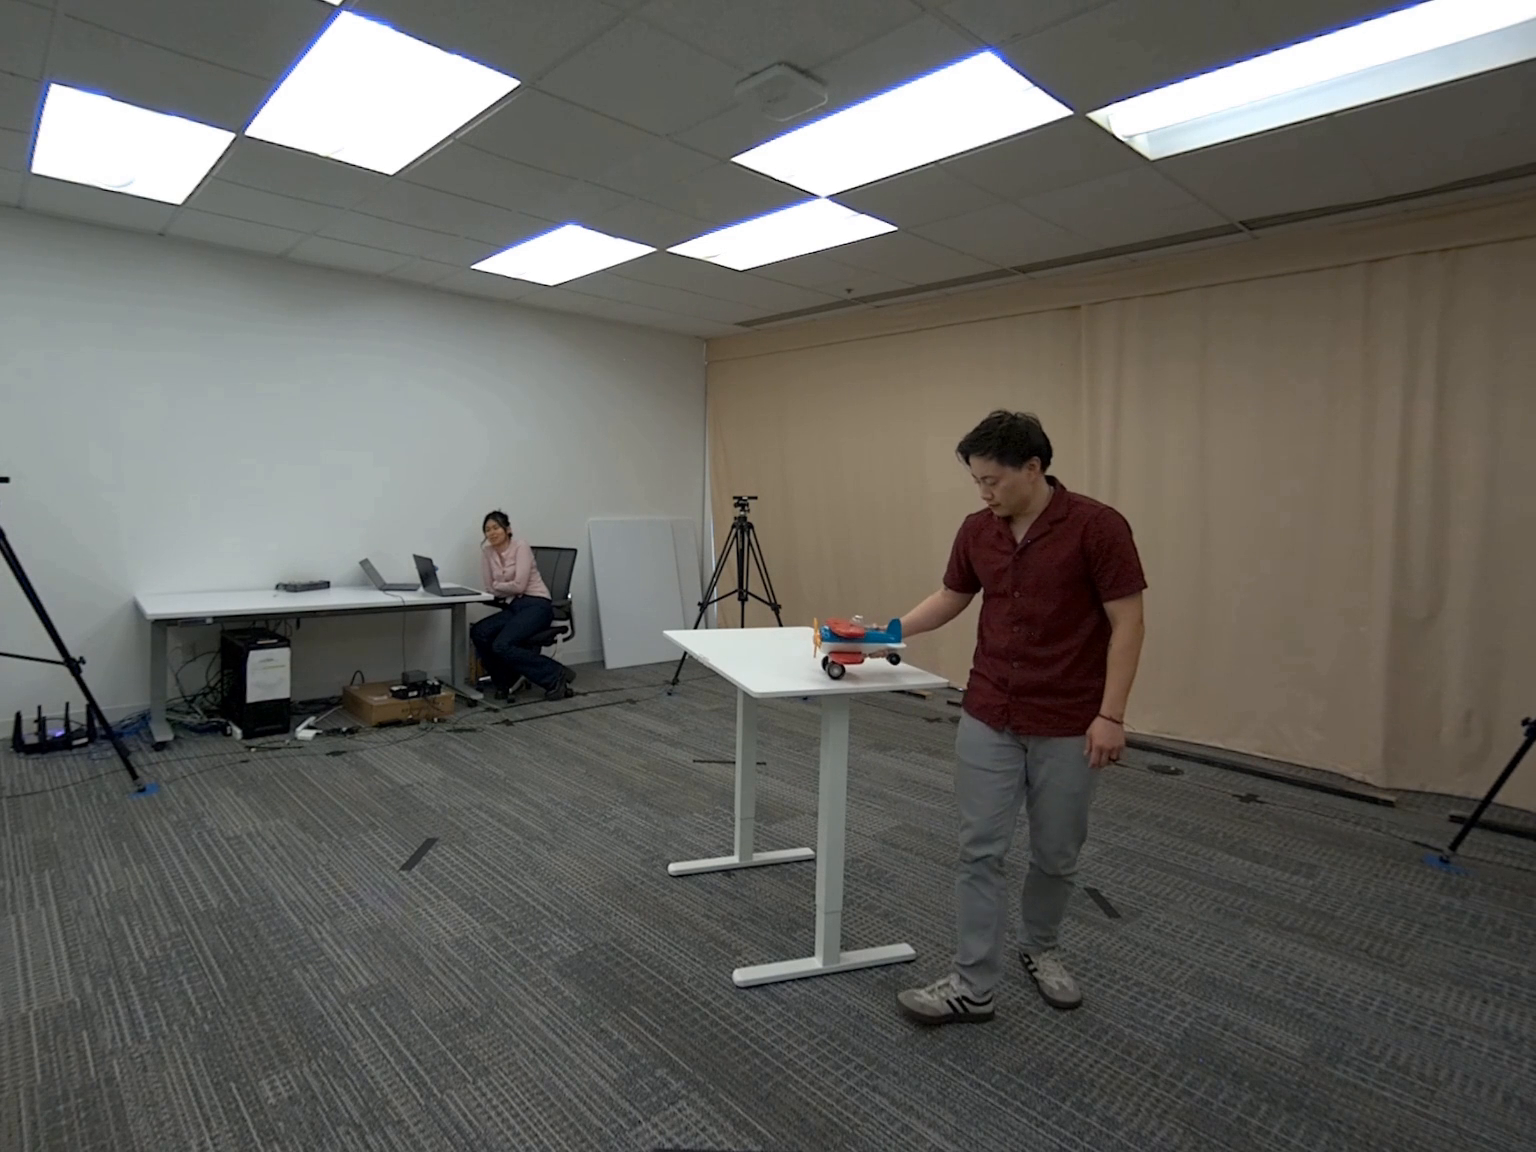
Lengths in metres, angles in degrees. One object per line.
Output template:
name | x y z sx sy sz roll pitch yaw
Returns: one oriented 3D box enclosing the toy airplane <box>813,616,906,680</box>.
toy airplane | 0.253 0.198 2.461 0.255 0.155 0.256 -16 8 -31
